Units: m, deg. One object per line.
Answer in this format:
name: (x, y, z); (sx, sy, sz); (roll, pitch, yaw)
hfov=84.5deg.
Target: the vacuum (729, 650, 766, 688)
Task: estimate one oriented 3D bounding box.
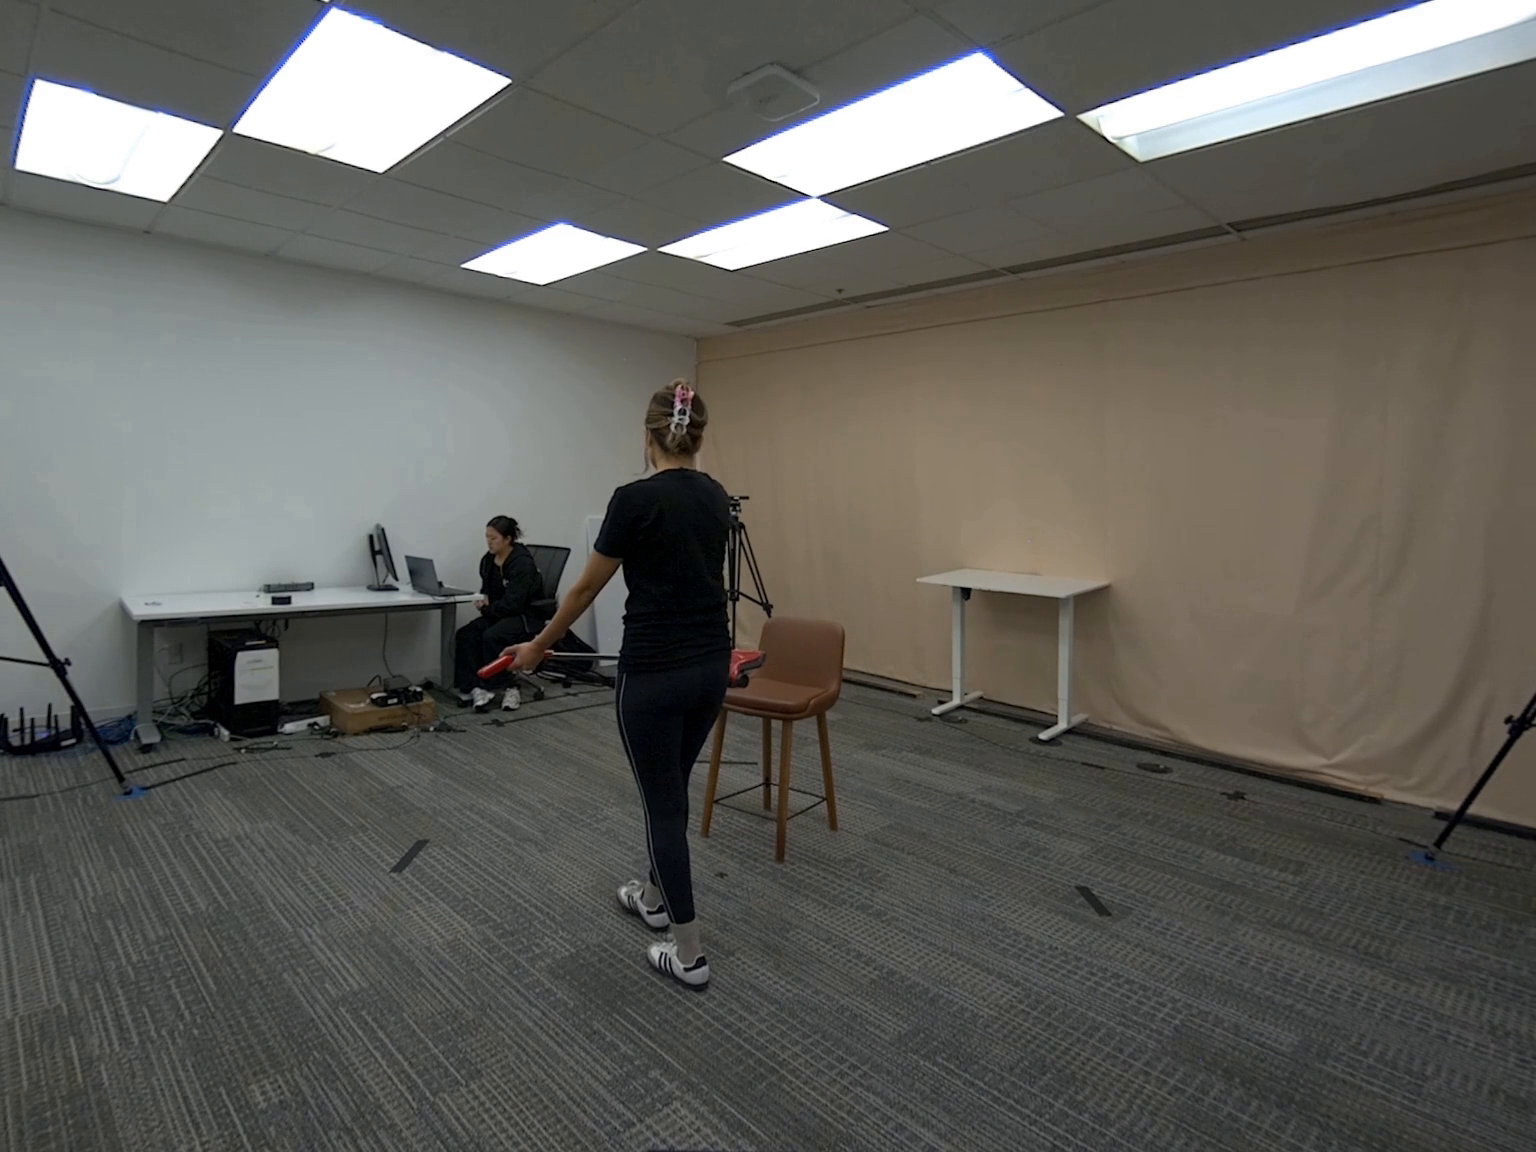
vacuum: (-0.472, 0.328, 2.798); (1.022, 0.144, 0.258); (5, -7, -44)
